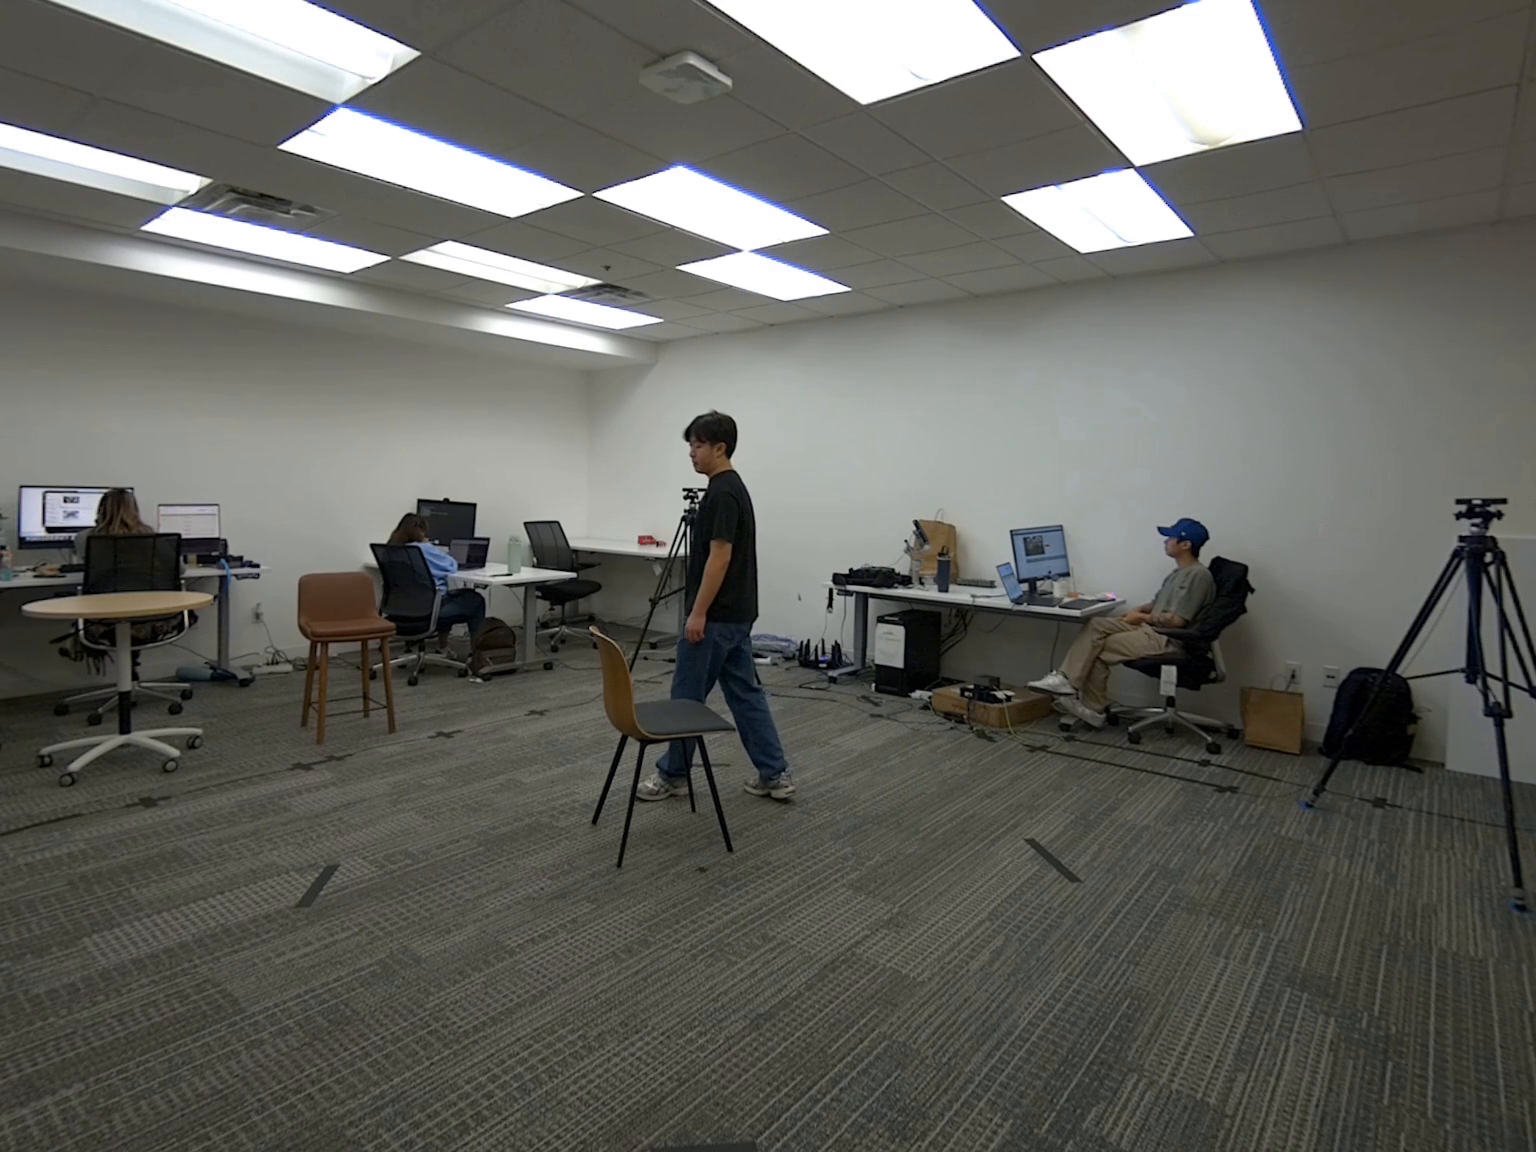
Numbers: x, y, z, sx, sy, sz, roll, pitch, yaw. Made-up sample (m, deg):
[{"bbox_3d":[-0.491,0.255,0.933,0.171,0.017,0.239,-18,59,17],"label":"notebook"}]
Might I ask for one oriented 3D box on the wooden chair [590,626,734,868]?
[{"bbox_3d":[-0.429,0.614,3.360,0.513,0.874,0.490,-4,5,-22],"label":"wooden chair"}]
